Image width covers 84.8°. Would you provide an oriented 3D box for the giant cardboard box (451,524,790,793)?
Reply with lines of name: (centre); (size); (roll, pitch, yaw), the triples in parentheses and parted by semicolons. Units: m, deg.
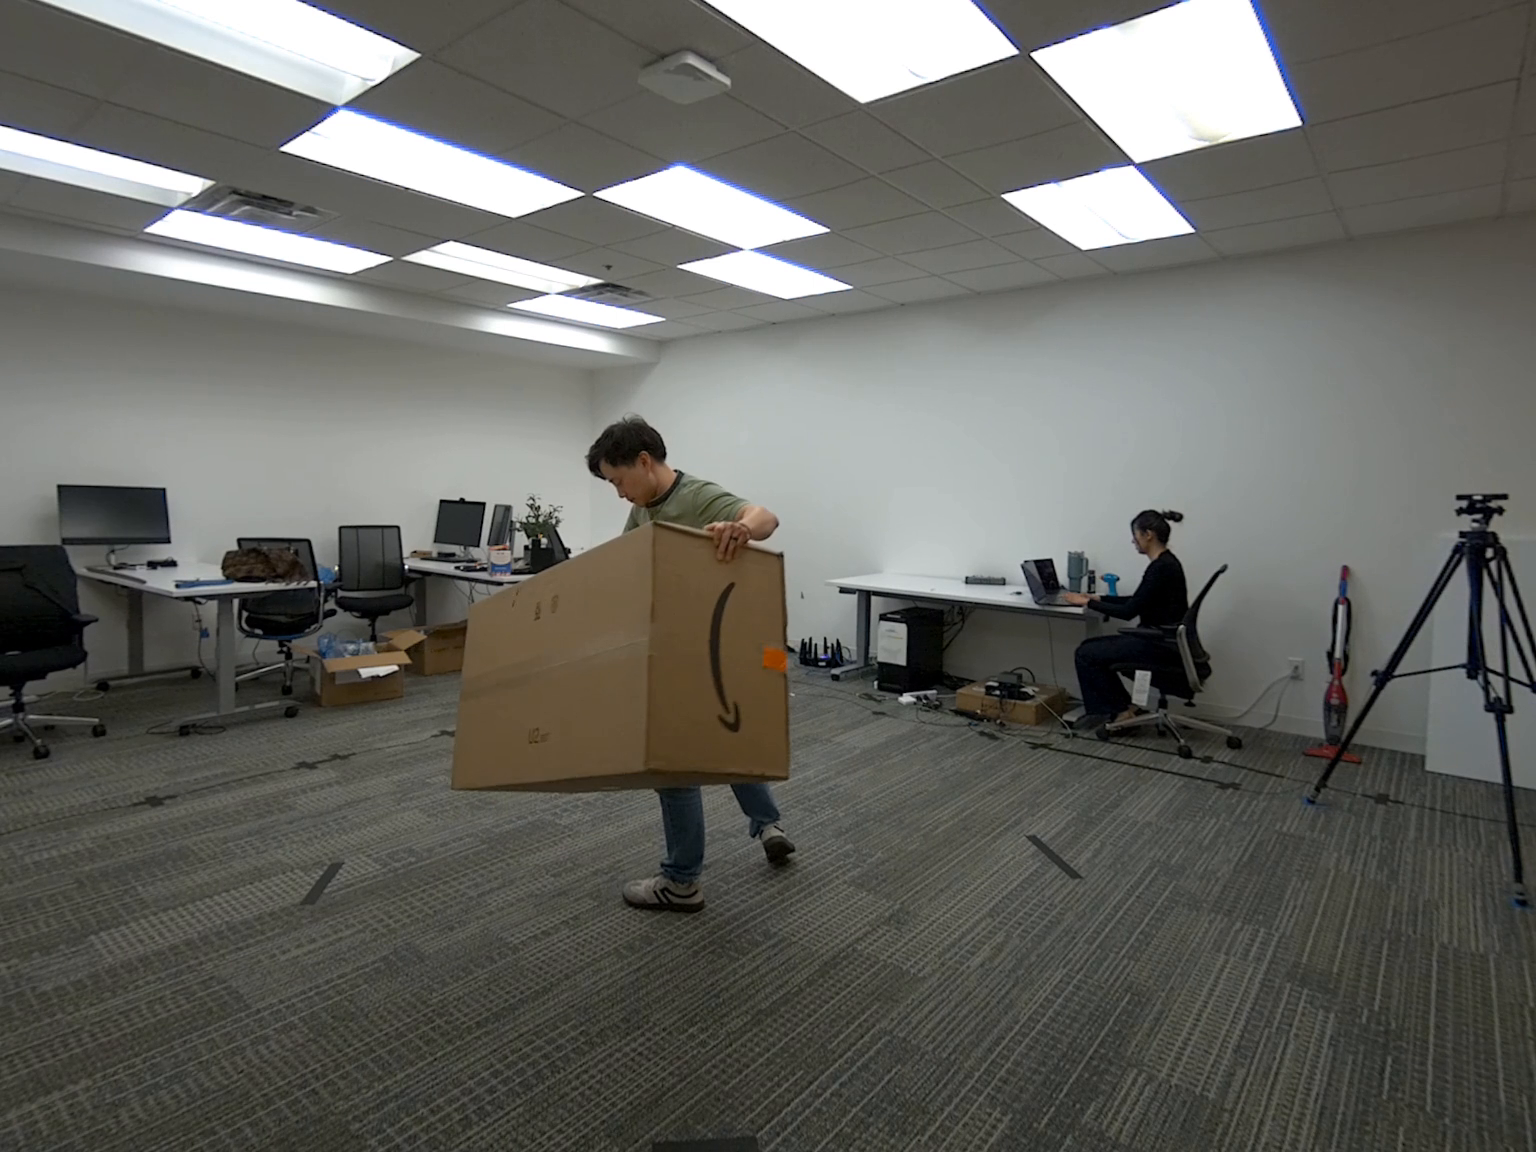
giant cardboard box: (-0.467, 0.295, 2.403); (0.410, 0.588, 1.046); (15, -23, -39)
